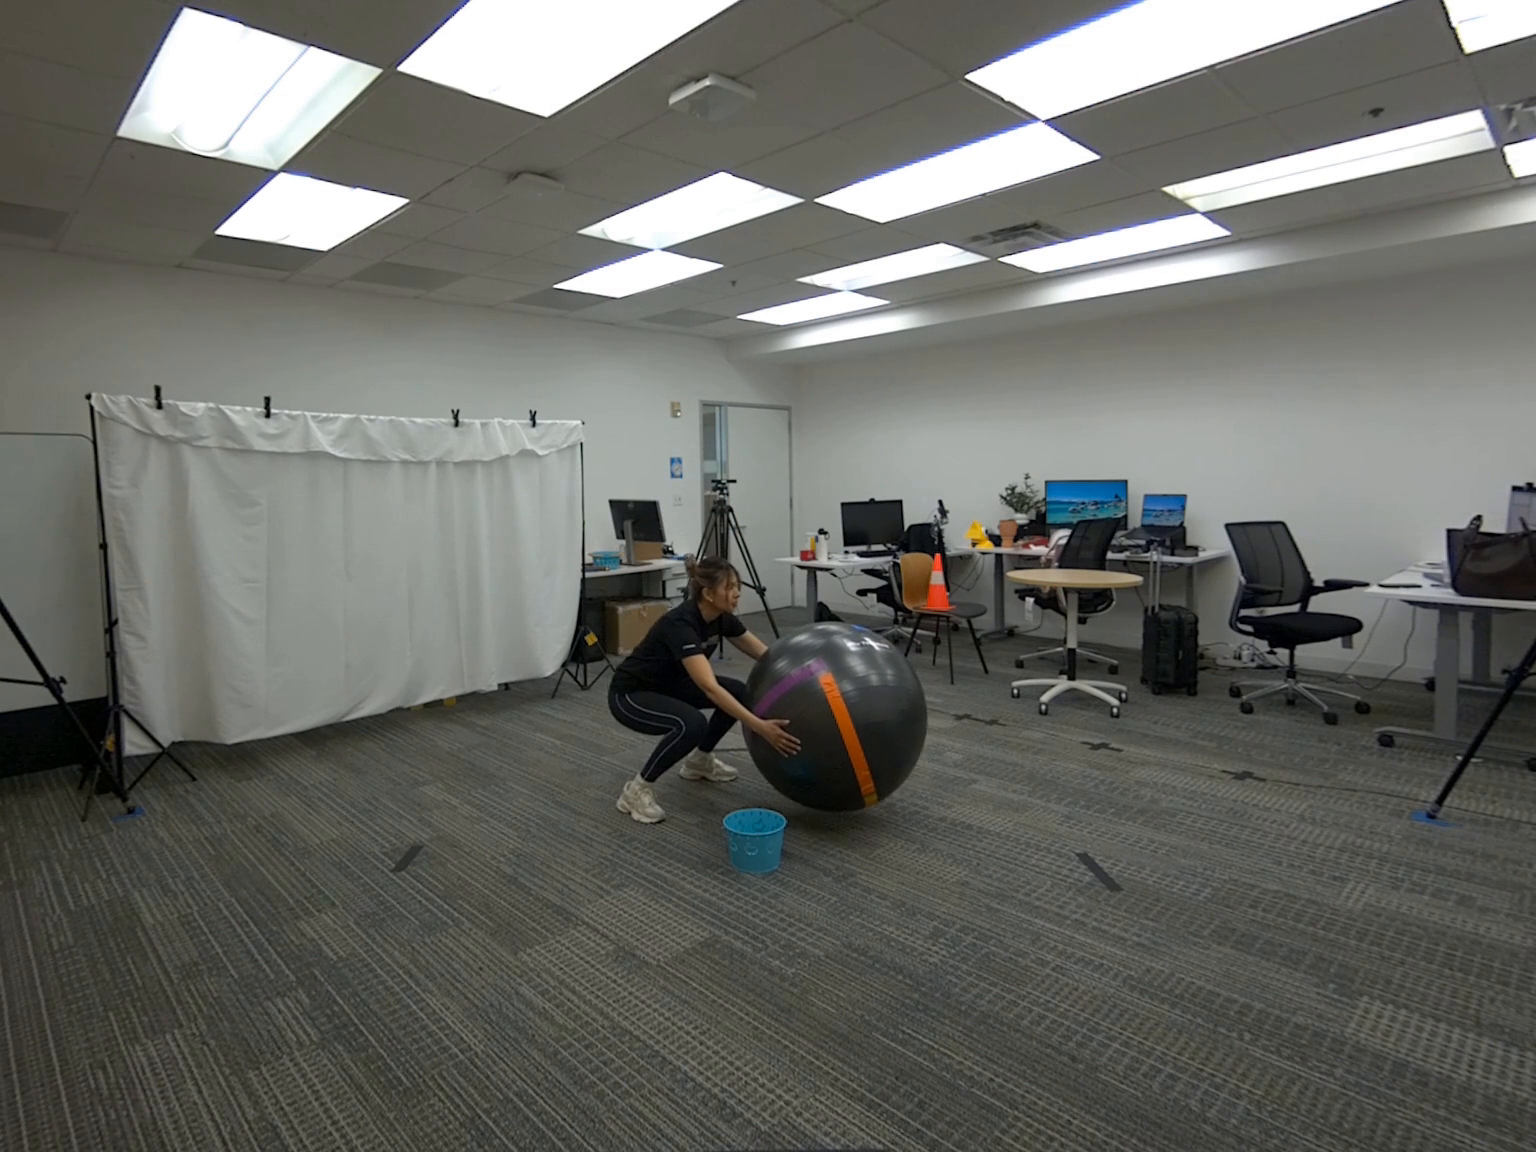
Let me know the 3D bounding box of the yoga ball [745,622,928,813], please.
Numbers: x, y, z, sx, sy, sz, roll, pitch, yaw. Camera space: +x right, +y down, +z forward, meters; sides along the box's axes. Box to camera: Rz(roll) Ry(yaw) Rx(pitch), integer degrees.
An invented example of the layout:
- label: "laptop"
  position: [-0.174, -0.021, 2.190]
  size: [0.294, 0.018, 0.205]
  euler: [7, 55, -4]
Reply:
- label: "yoga ball"
  position: [0.270, 0.569, 3.503]
  size: [0.757, 0.755, 0.762]
  euler: [-1, 5, -2]
